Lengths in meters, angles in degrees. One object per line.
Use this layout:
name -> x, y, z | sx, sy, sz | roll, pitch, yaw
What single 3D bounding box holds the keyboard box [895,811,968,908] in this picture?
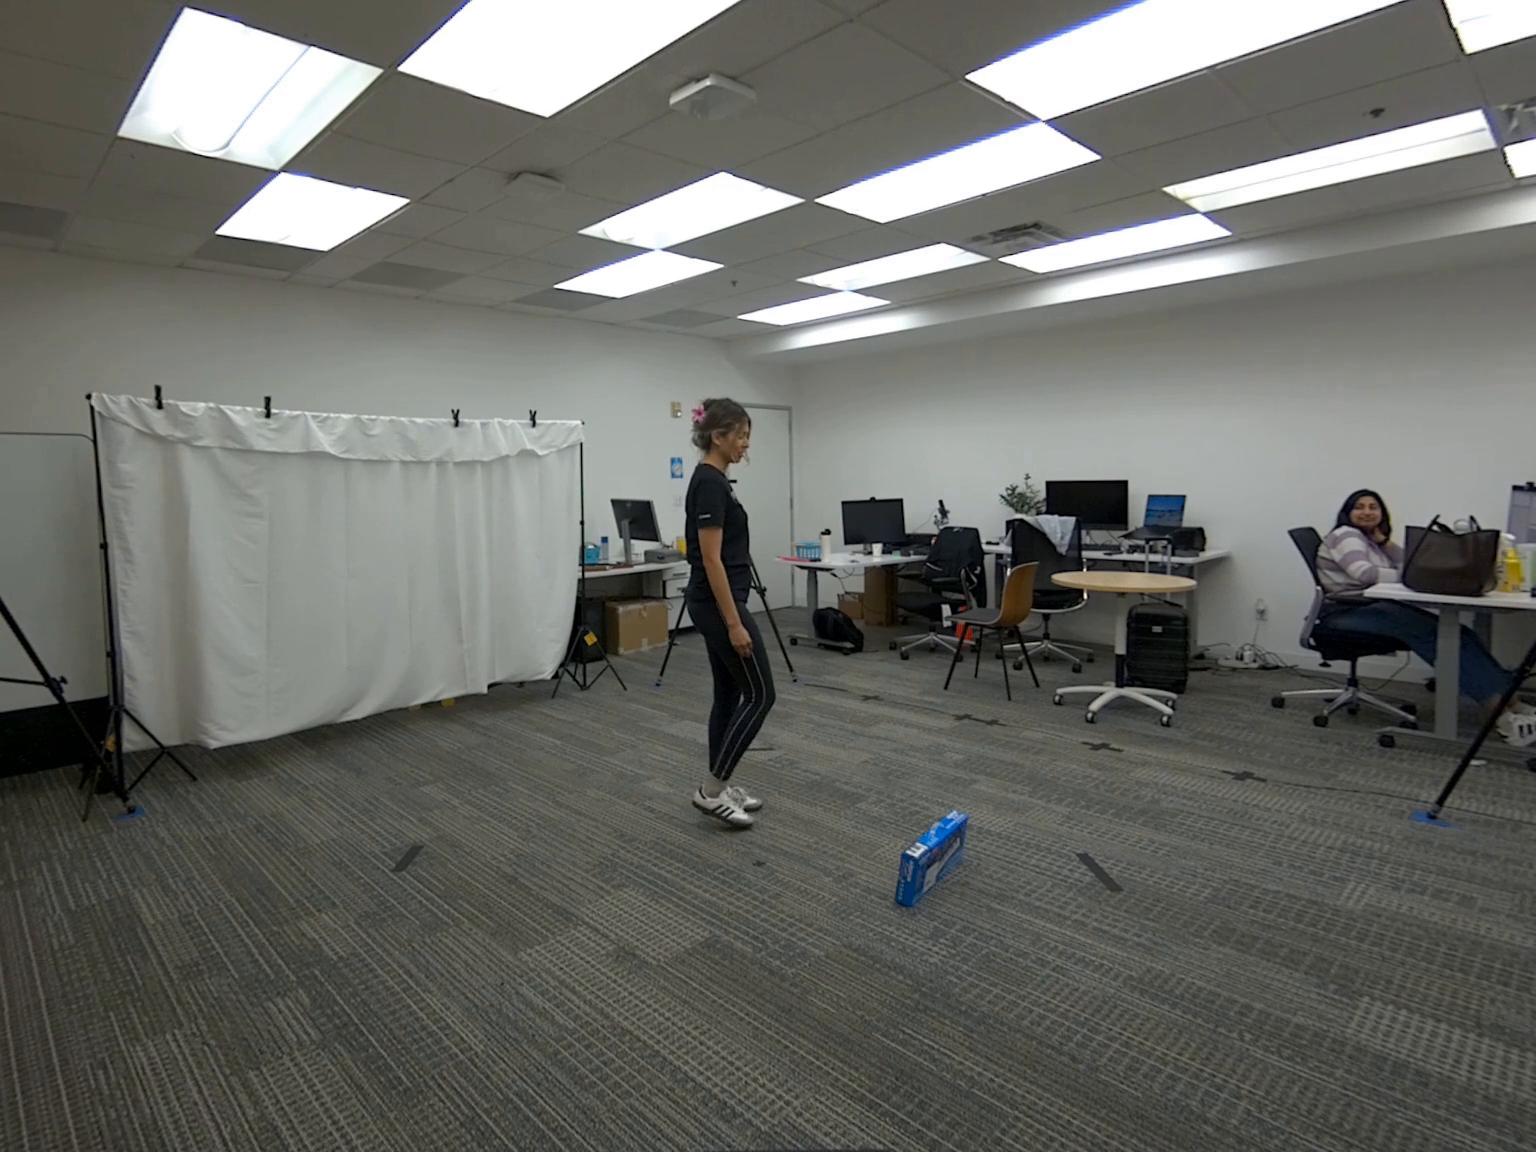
keyboard box -> 0.574, 0.967, 2.943 | 0.061, 0.174, 0.427 | 11, 12, 33
